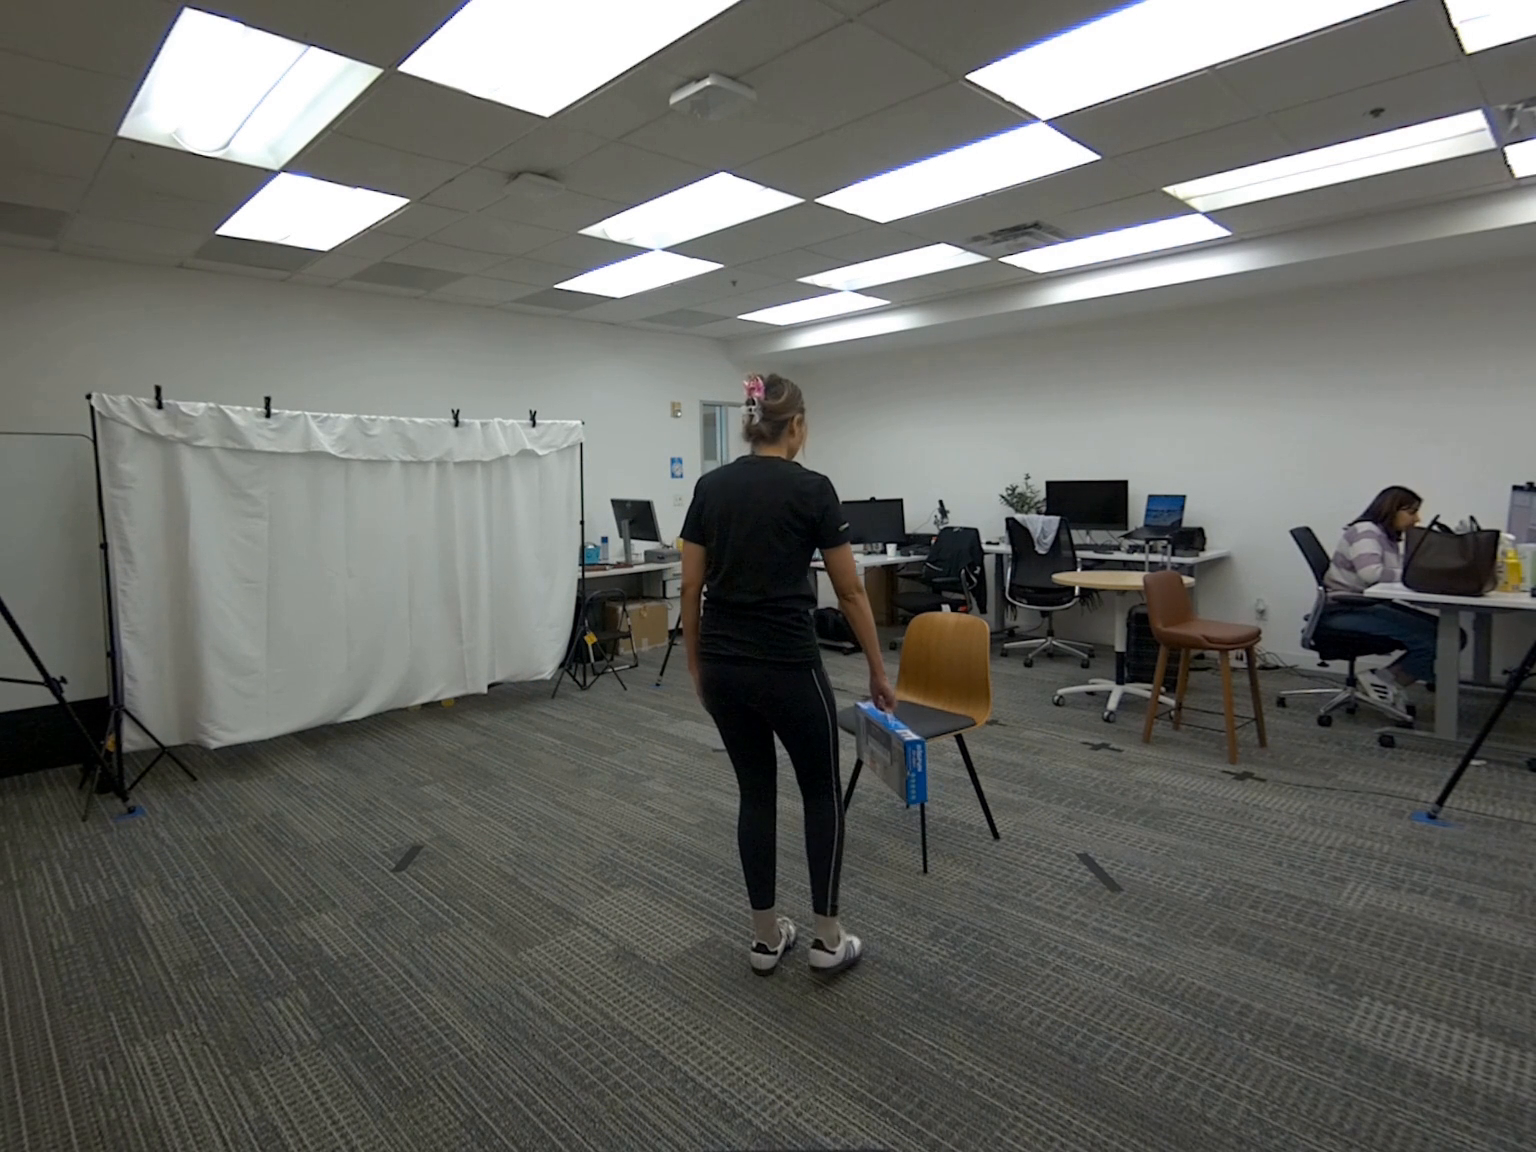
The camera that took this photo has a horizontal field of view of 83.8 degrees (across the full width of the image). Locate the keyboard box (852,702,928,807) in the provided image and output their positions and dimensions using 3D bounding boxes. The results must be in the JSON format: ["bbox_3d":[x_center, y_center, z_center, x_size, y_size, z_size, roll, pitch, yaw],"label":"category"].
[{"bbox_3d":[0.356,0.504,2.473,0.058,0.175,0.443,-3,5,-12],"label":"keyboard box"}]
